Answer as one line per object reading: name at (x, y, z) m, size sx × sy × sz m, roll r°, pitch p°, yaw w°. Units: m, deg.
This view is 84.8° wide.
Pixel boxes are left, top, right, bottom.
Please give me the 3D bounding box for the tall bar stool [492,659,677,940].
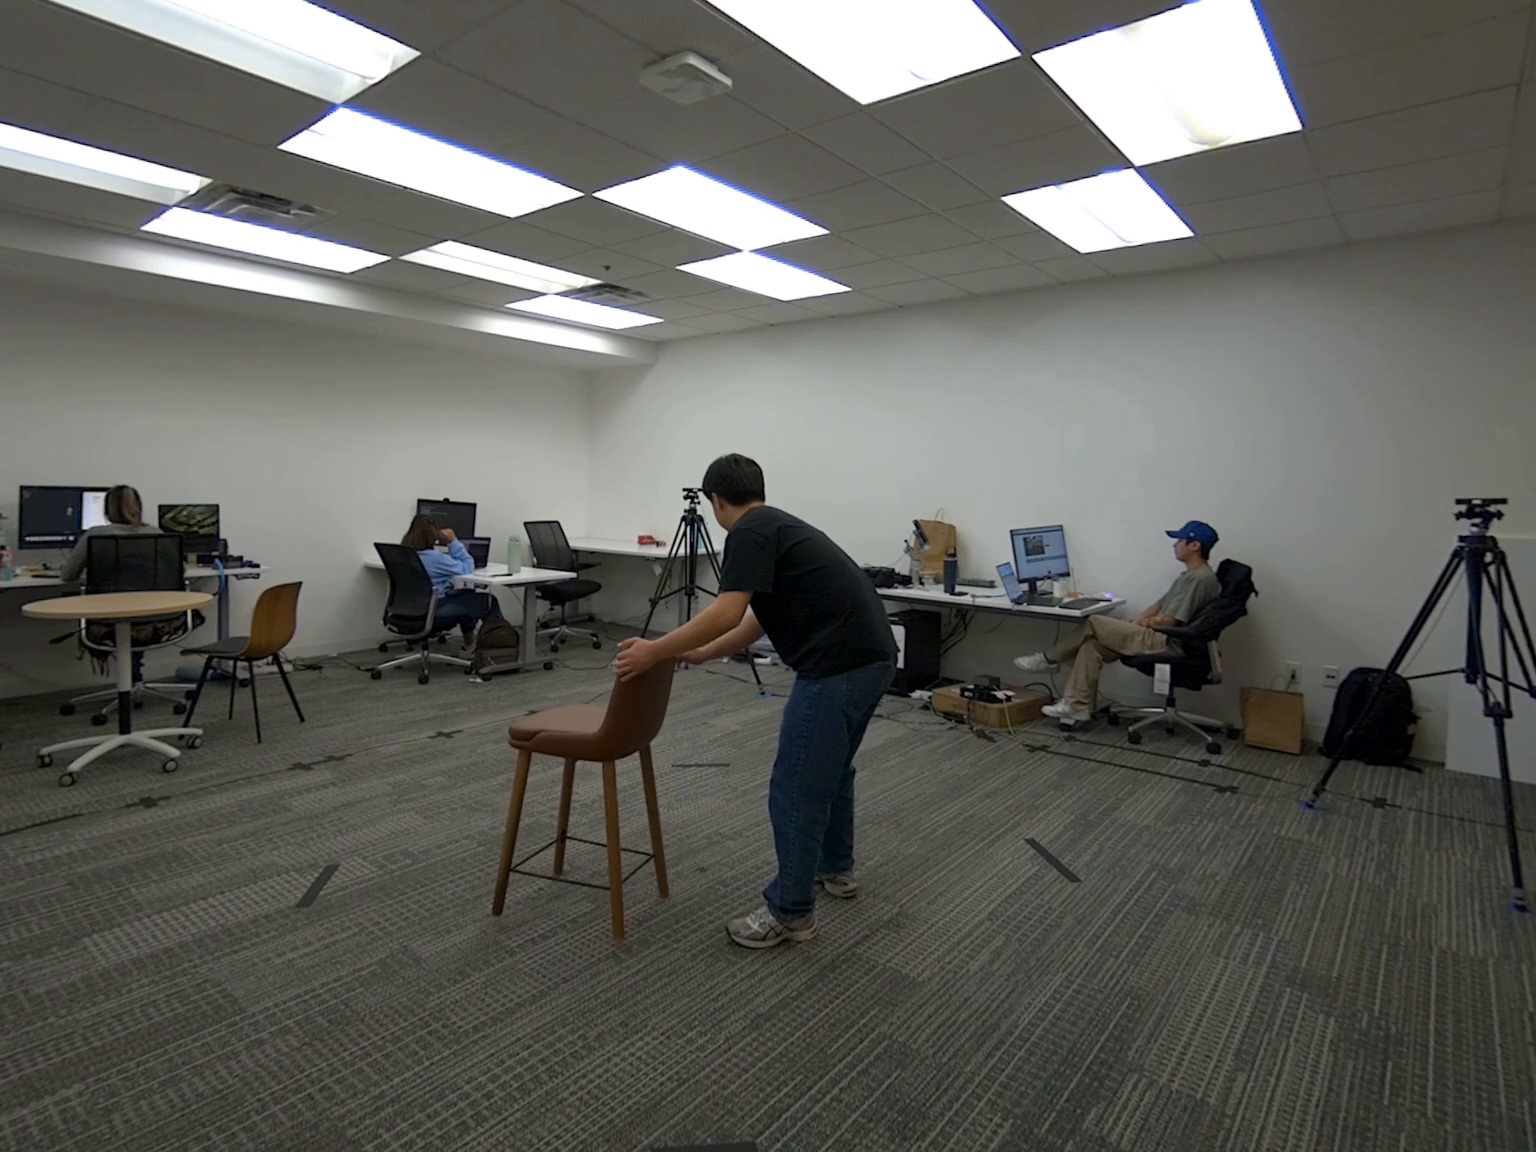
tall bar stool at (-0.585, 0.644, 2.808) m, size 0.478 × 0.889 × 0.447 m, roll 4°, pitch 1°, yaw 19°
